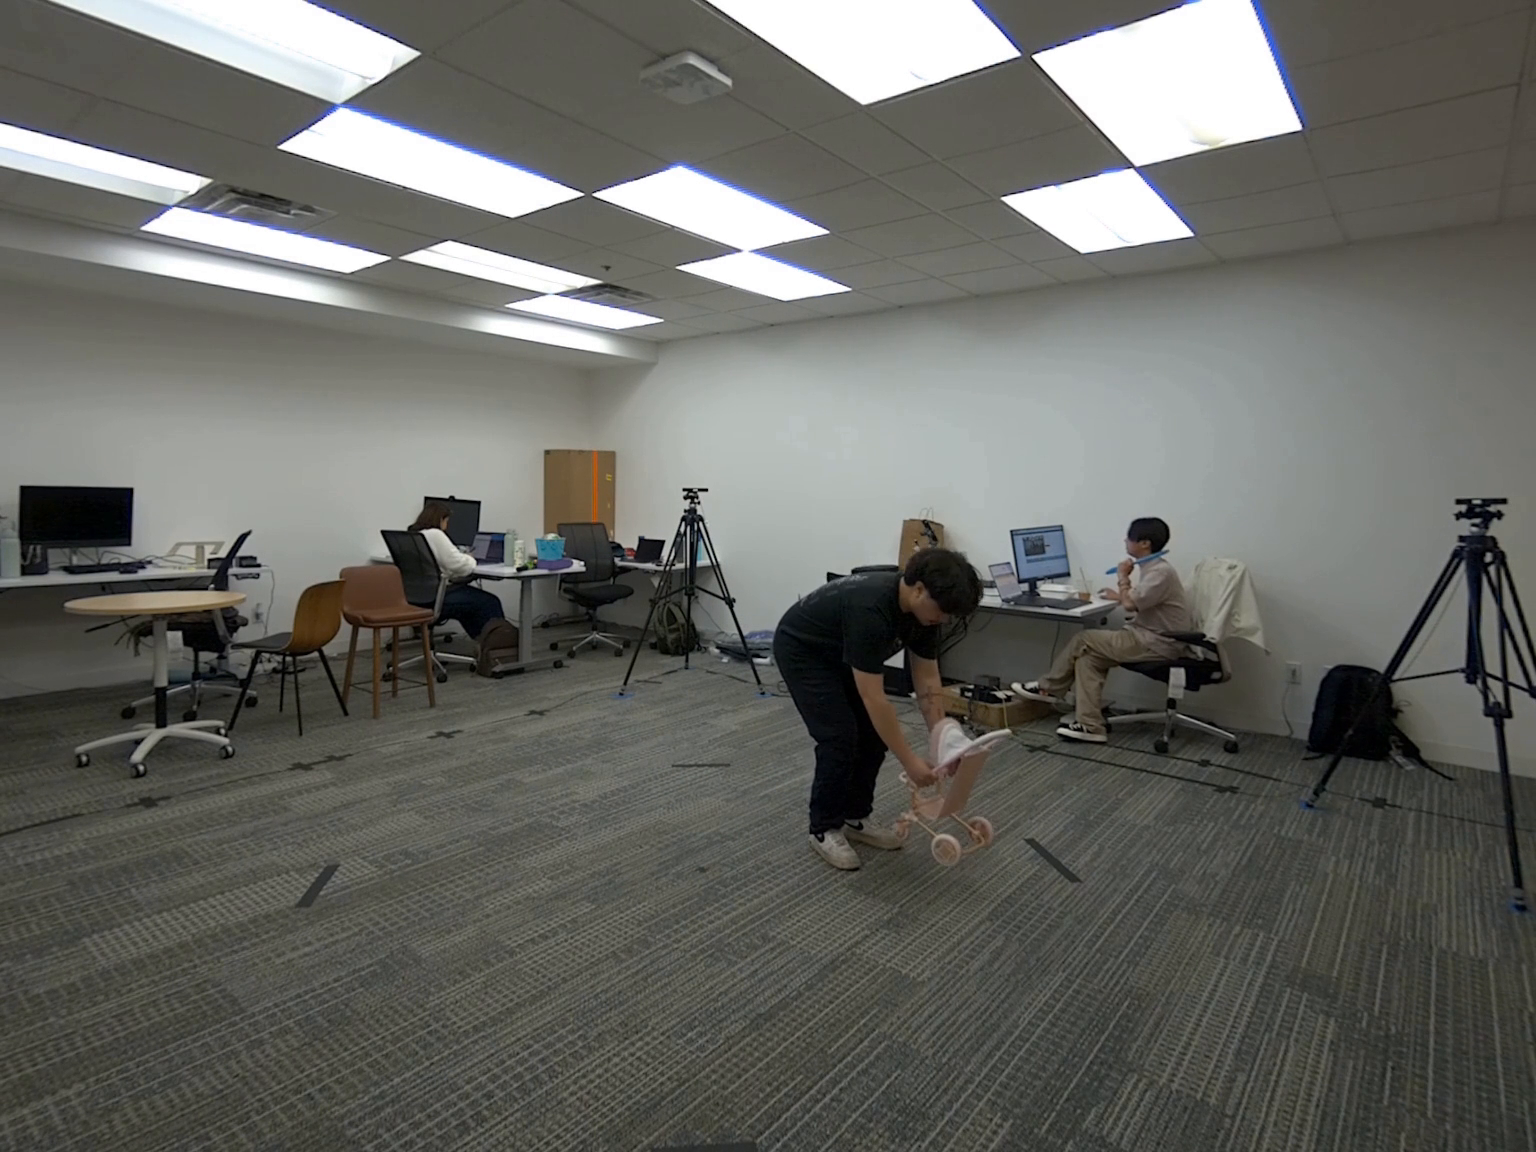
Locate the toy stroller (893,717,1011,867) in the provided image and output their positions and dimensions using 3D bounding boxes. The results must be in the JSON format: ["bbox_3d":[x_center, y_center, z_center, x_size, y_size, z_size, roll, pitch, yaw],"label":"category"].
[{"bbox_3d":[0.628,0.743,3.022,0.272,0.531,0.355,0,13,-44],"label":"toy stroller"}]
